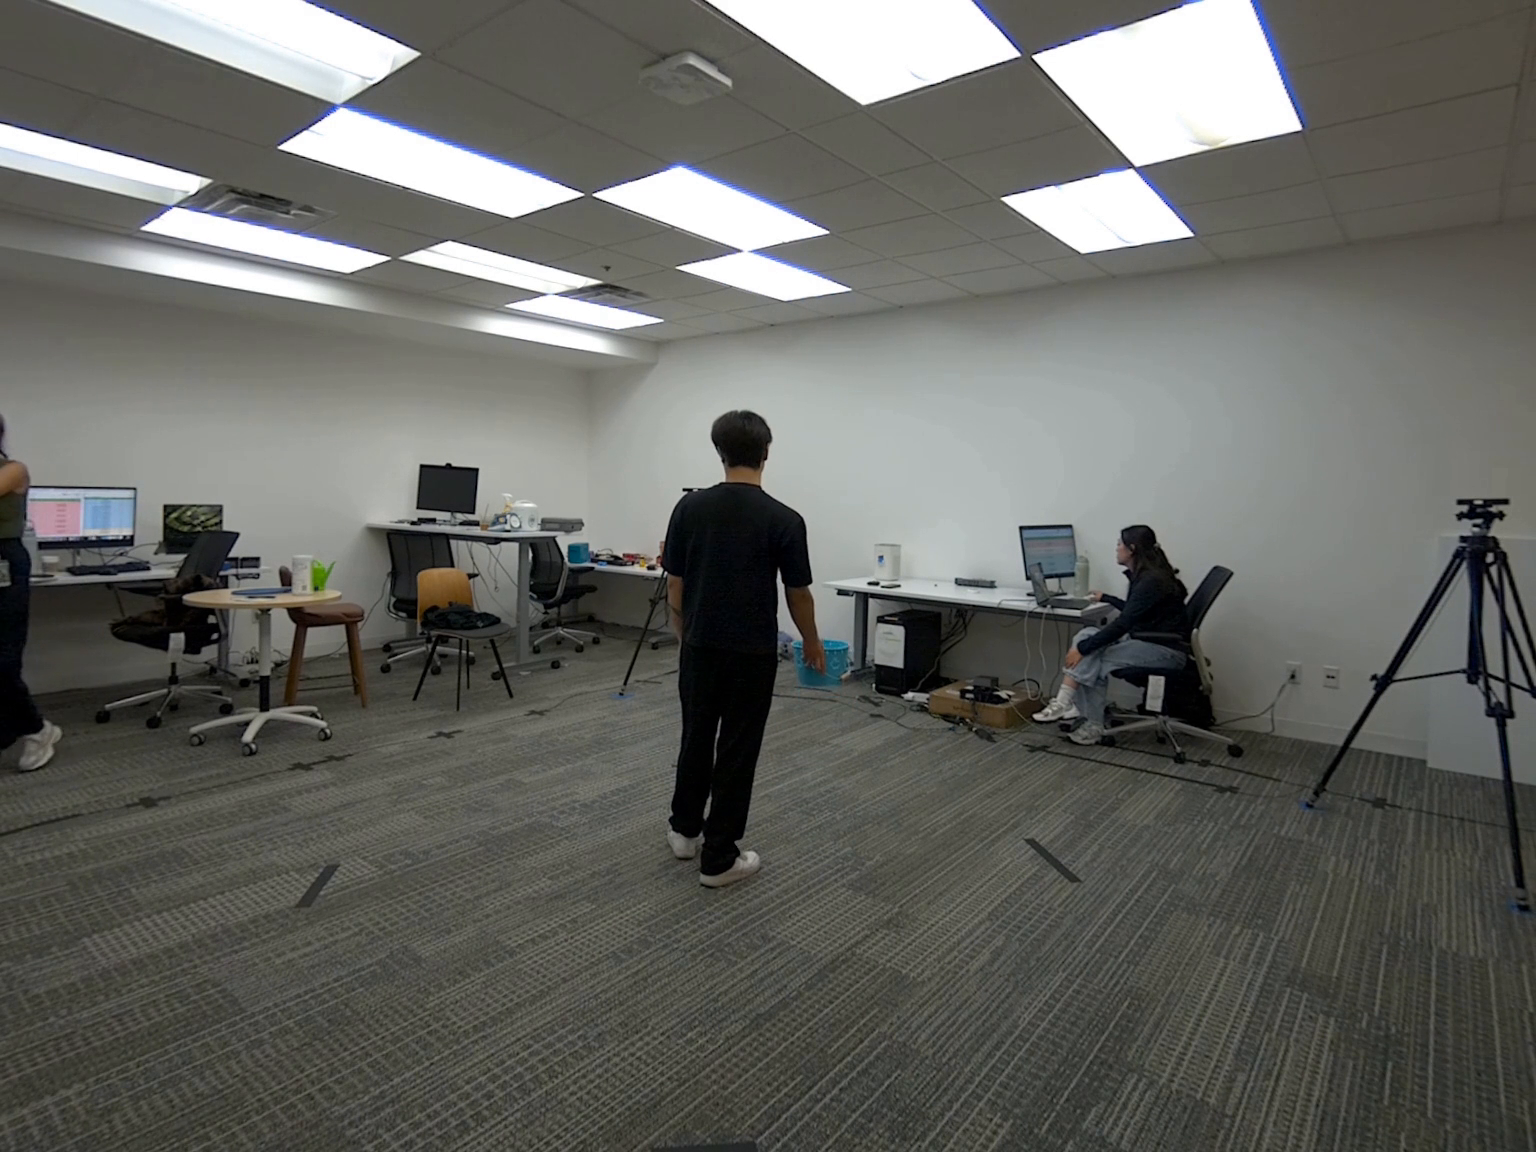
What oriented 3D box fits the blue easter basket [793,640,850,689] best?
[{"bbox_3d":[0.209,0.351,3.355,0.243,0.155,0.244,-1,4,-2],"label":"blue easter basket"}]
